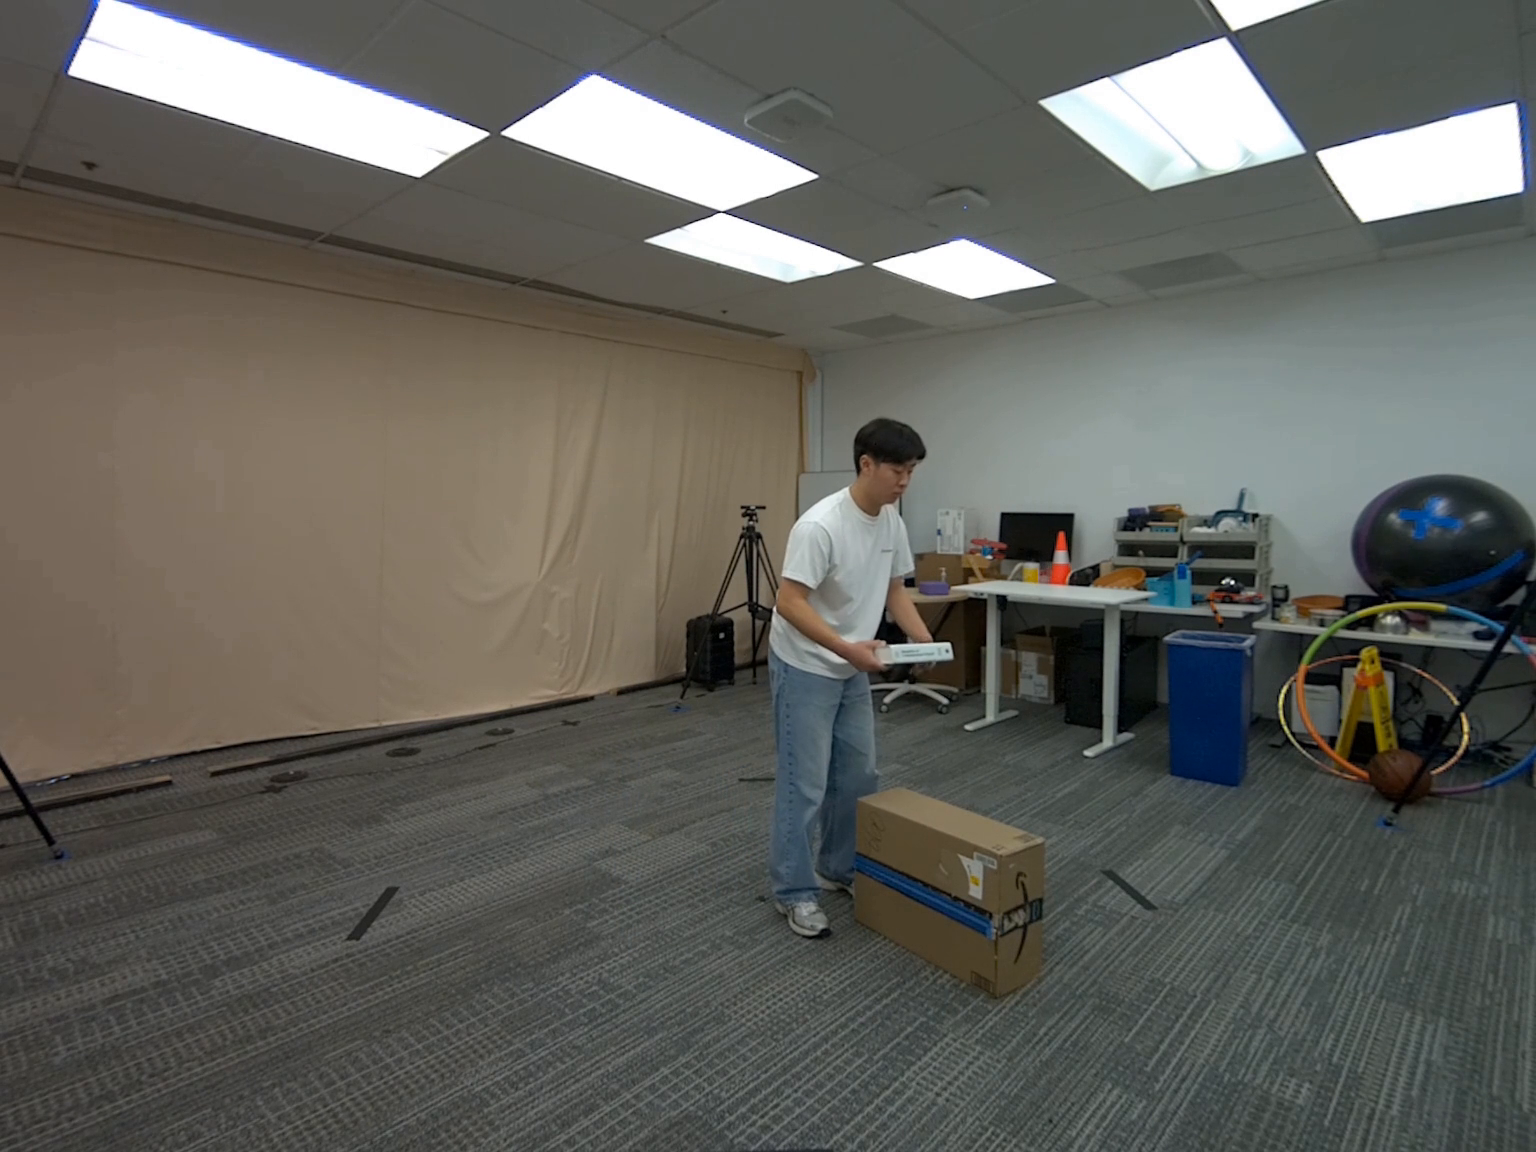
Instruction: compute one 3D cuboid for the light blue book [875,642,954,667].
[{"bbox_3d":[0.439,0.257,2.705,0.253,0.059,0.196,1,-4,-32],"label":"light blue book"}]
